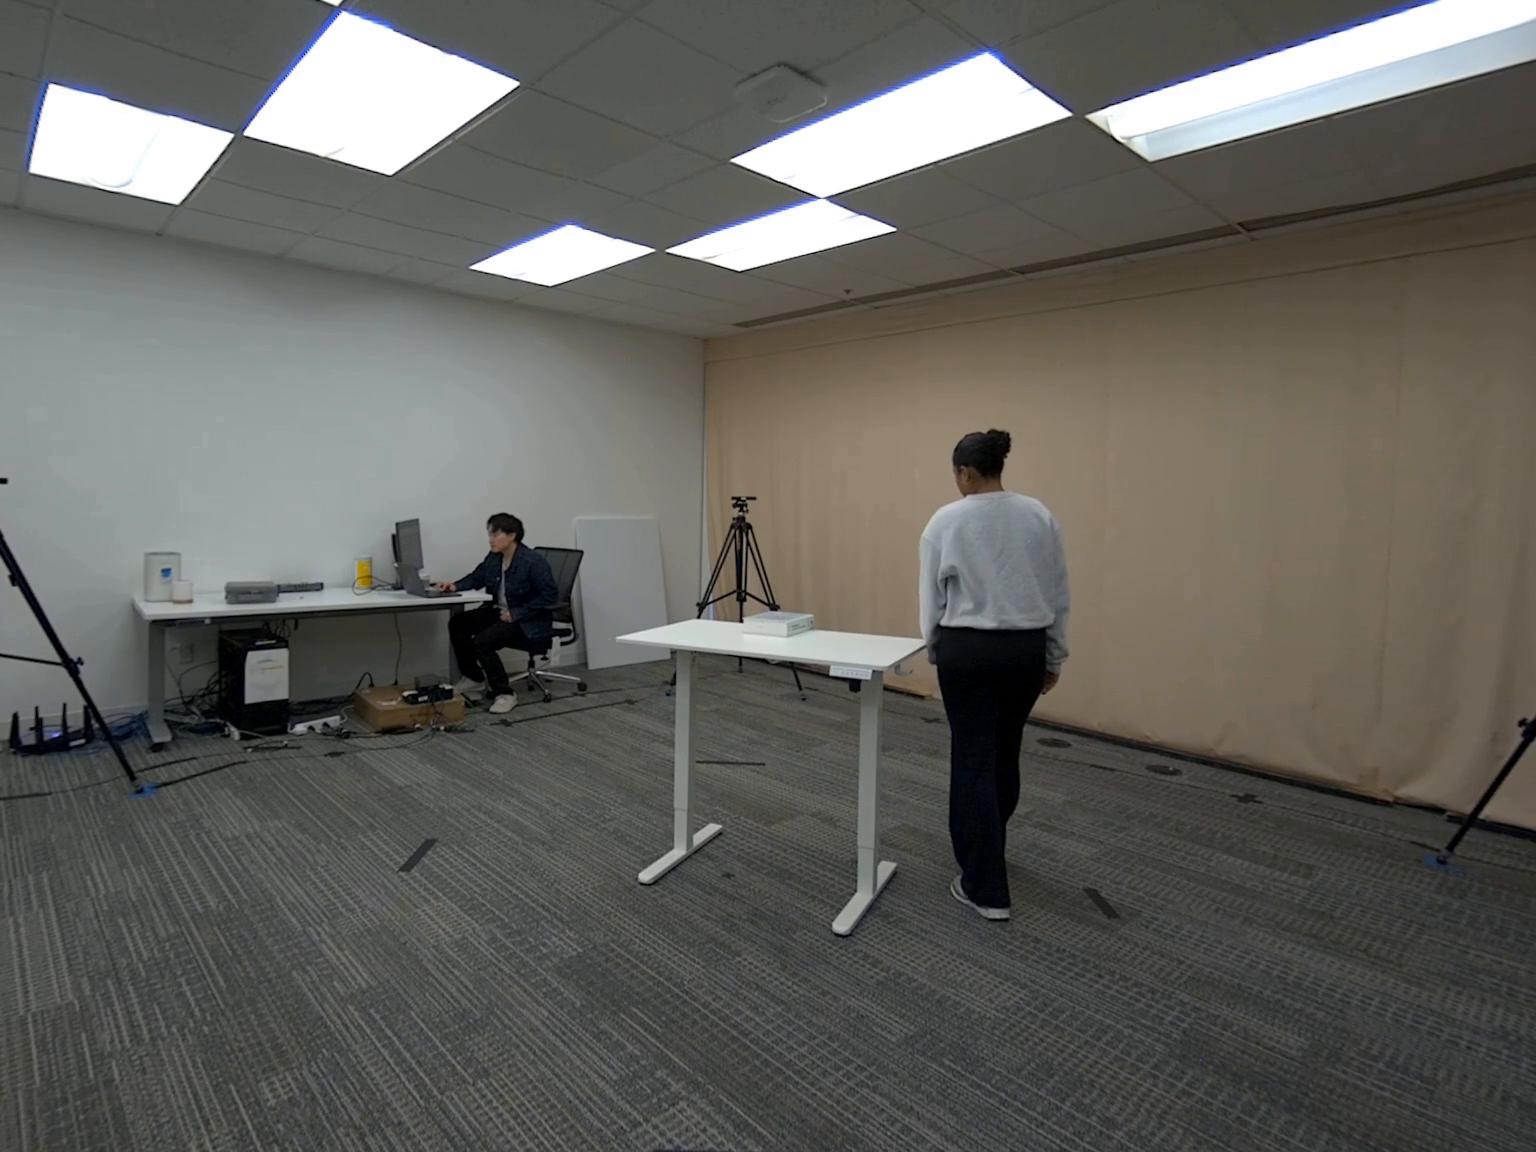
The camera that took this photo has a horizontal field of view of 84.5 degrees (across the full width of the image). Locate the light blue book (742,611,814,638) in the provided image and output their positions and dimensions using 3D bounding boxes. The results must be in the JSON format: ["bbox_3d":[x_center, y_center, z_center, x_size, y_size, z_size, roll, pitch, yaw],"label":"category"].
[{"bbox_3d":[0.034,0.185,3.273,0.195,0.059,0.256,3,5,28],"label":"light blue book"}]
